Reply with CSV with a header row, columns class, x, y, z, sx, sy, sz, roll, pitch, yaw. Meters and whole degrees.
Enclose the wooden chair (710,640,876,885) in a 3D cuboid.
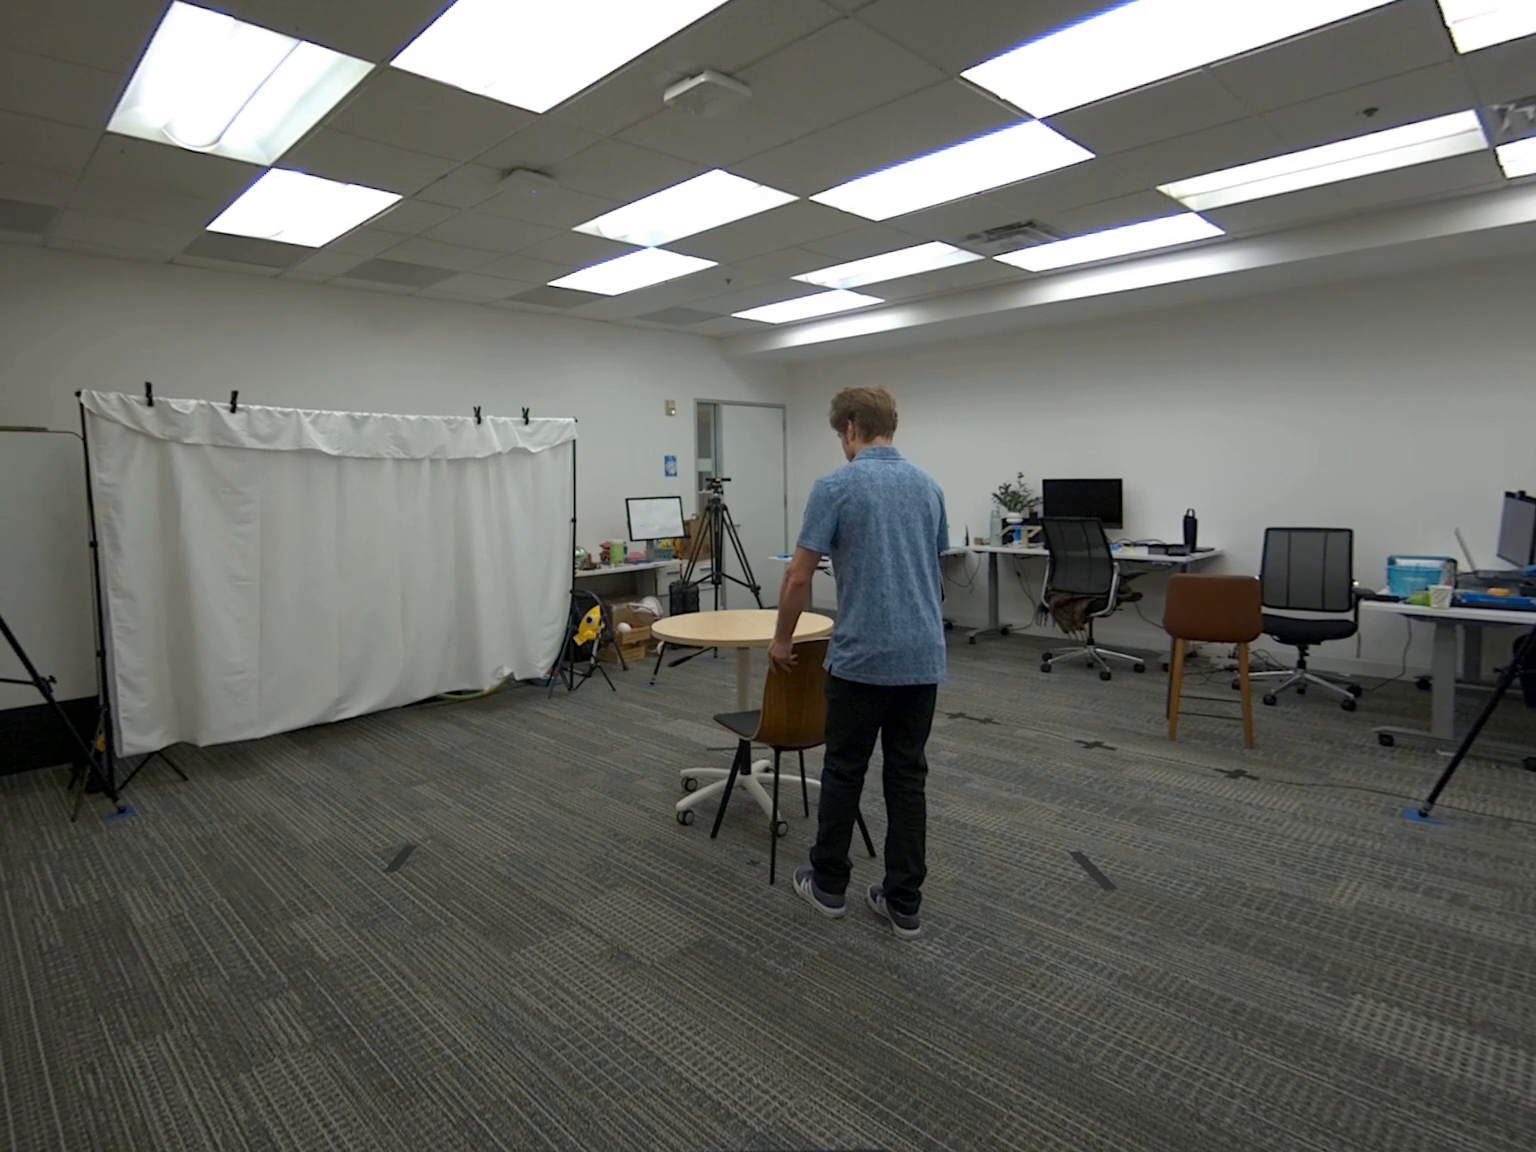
class,x,y,z,sx,sy,sz,roll,pitch,yaw
wooden chair,0.079,0.601,3.204,0.467,0.871,0.539,-3,9,-29
